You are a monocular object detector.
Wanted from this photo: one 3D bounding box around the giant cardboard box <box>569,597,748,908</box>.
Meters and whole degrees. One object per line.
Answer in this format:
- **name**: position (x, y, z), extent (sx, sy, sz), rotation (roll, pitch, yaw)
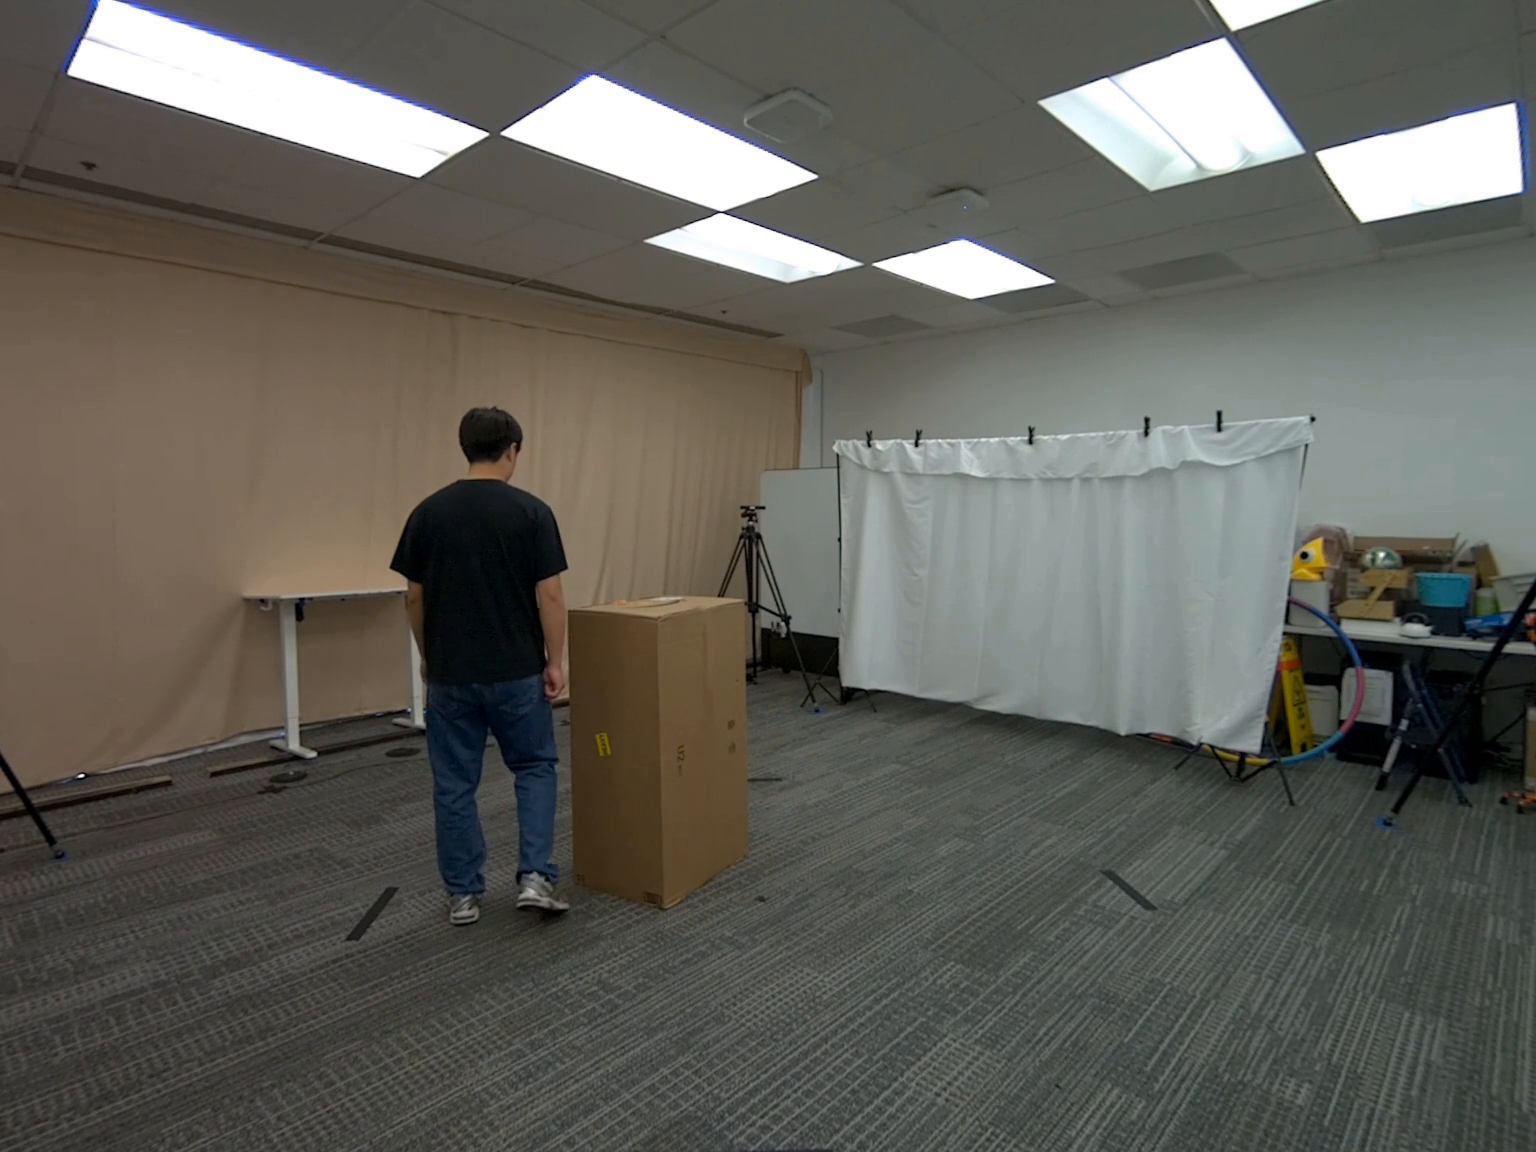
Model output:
- **giant cardboard box**: position (-0.405, 0.614, 3.230), extent (0.460, 1.025, 0.568), rotation (1, 3, 32)
